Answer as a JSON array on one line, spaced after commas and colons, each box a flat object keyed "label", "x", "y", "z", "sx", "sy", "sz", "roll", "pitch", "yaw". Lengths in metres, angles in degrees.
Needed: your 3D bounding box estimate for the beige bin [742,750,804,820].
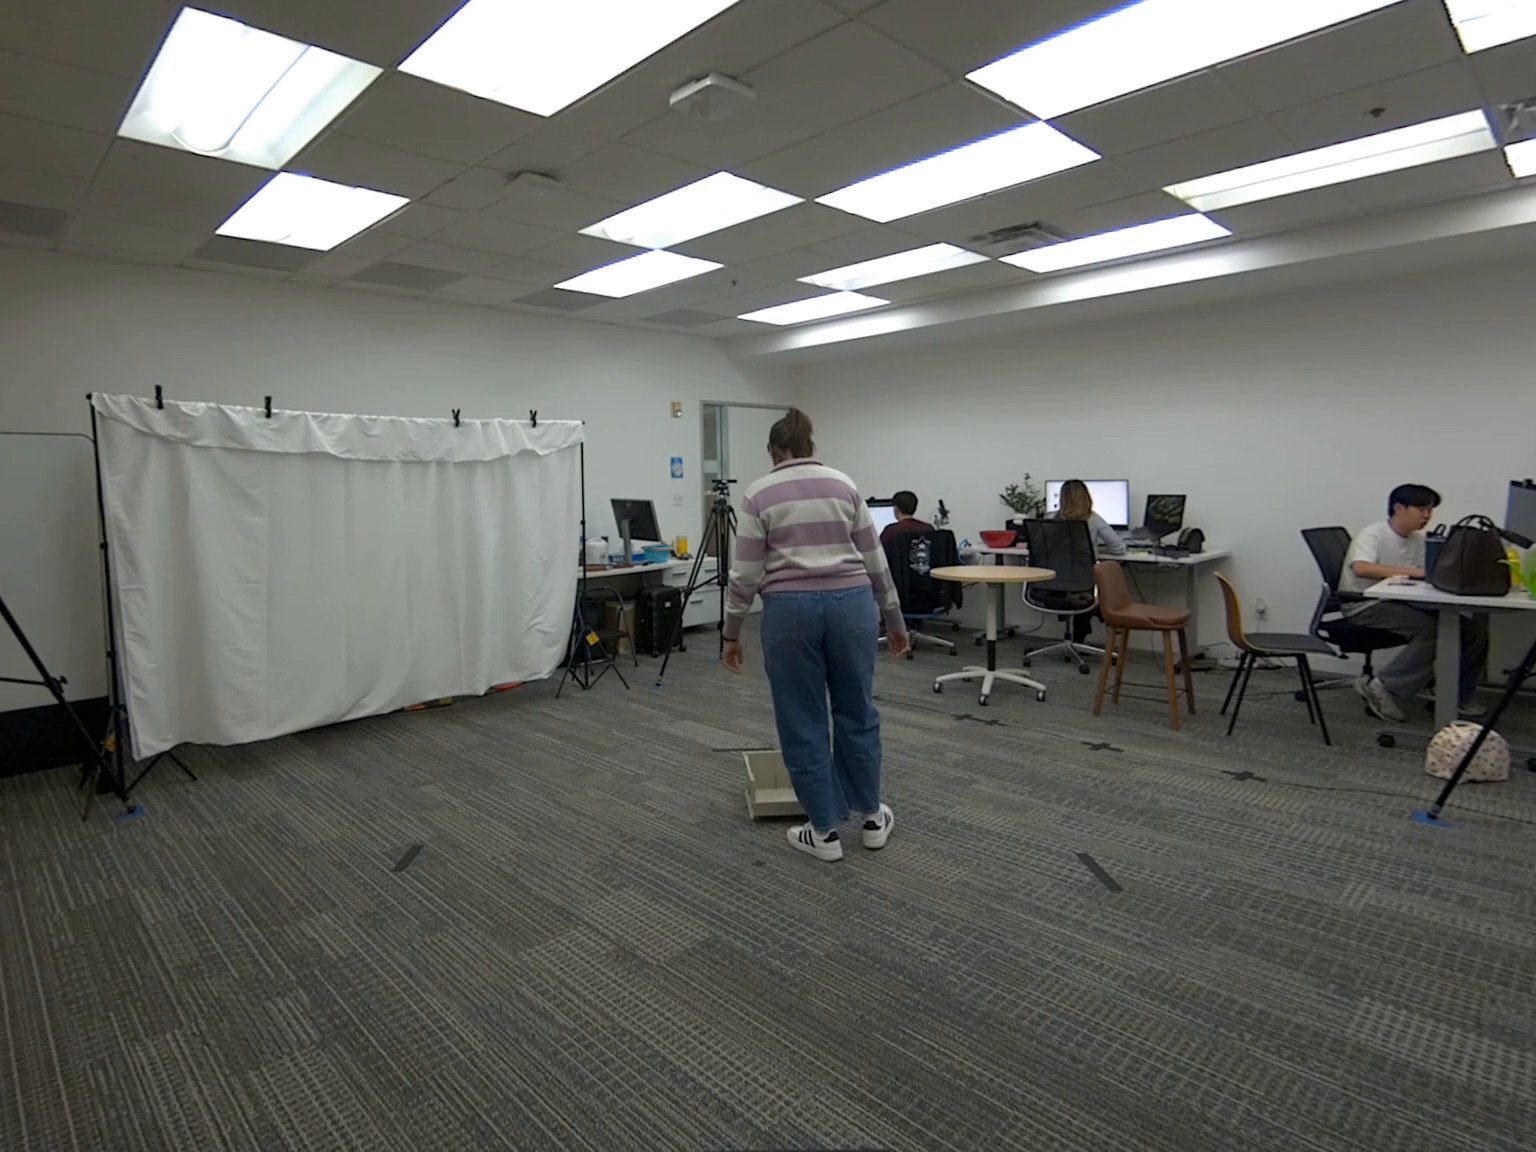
[{"label": "beige bin", "x": 0.118, "y": 0.896, "z": 3.660, "sx": 0.420, "sy": 0.188, "sz": 0.380, "roll": -2, "pitch": 5, "yaw": -5}]
